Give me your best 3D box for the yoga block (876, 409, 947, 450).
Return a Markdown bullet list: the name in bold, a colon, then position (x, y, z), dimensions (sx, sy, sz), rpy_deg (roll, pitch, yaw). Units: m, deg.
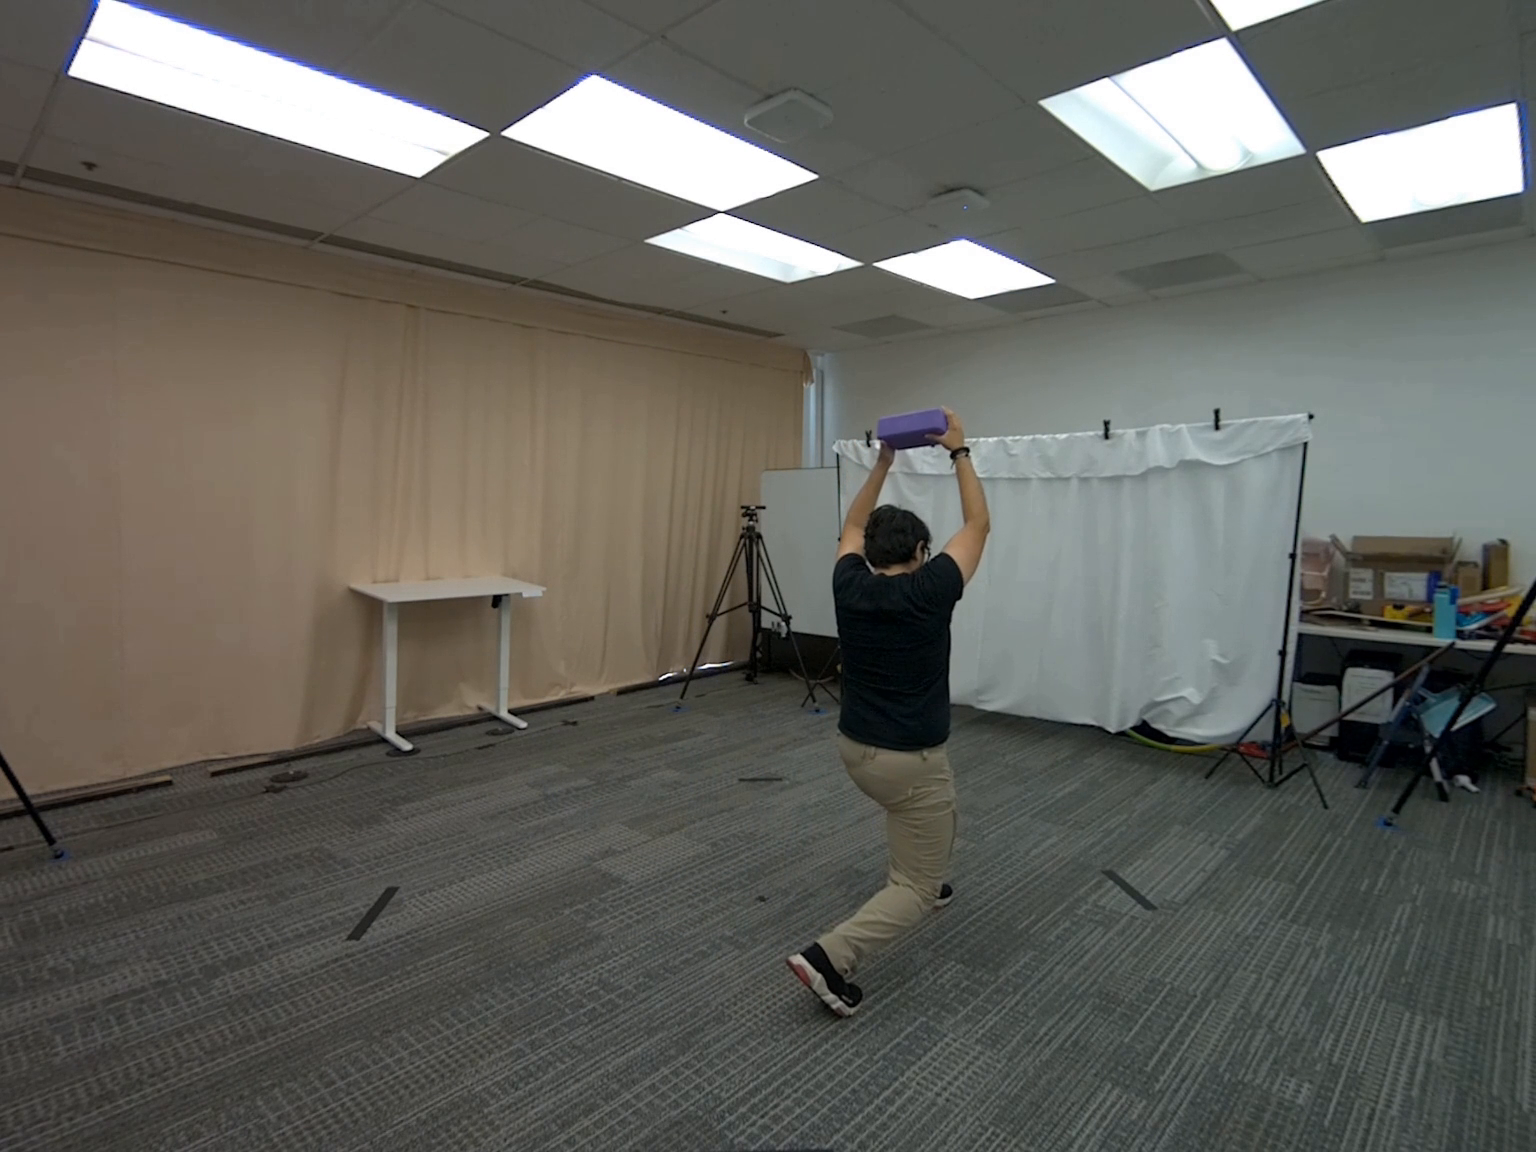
- **yoga block**: position (0.497, -0.496, 2.809), dimensions (0.236, 0.077, 0.144), rpy_deg (-5, -12, 40)
